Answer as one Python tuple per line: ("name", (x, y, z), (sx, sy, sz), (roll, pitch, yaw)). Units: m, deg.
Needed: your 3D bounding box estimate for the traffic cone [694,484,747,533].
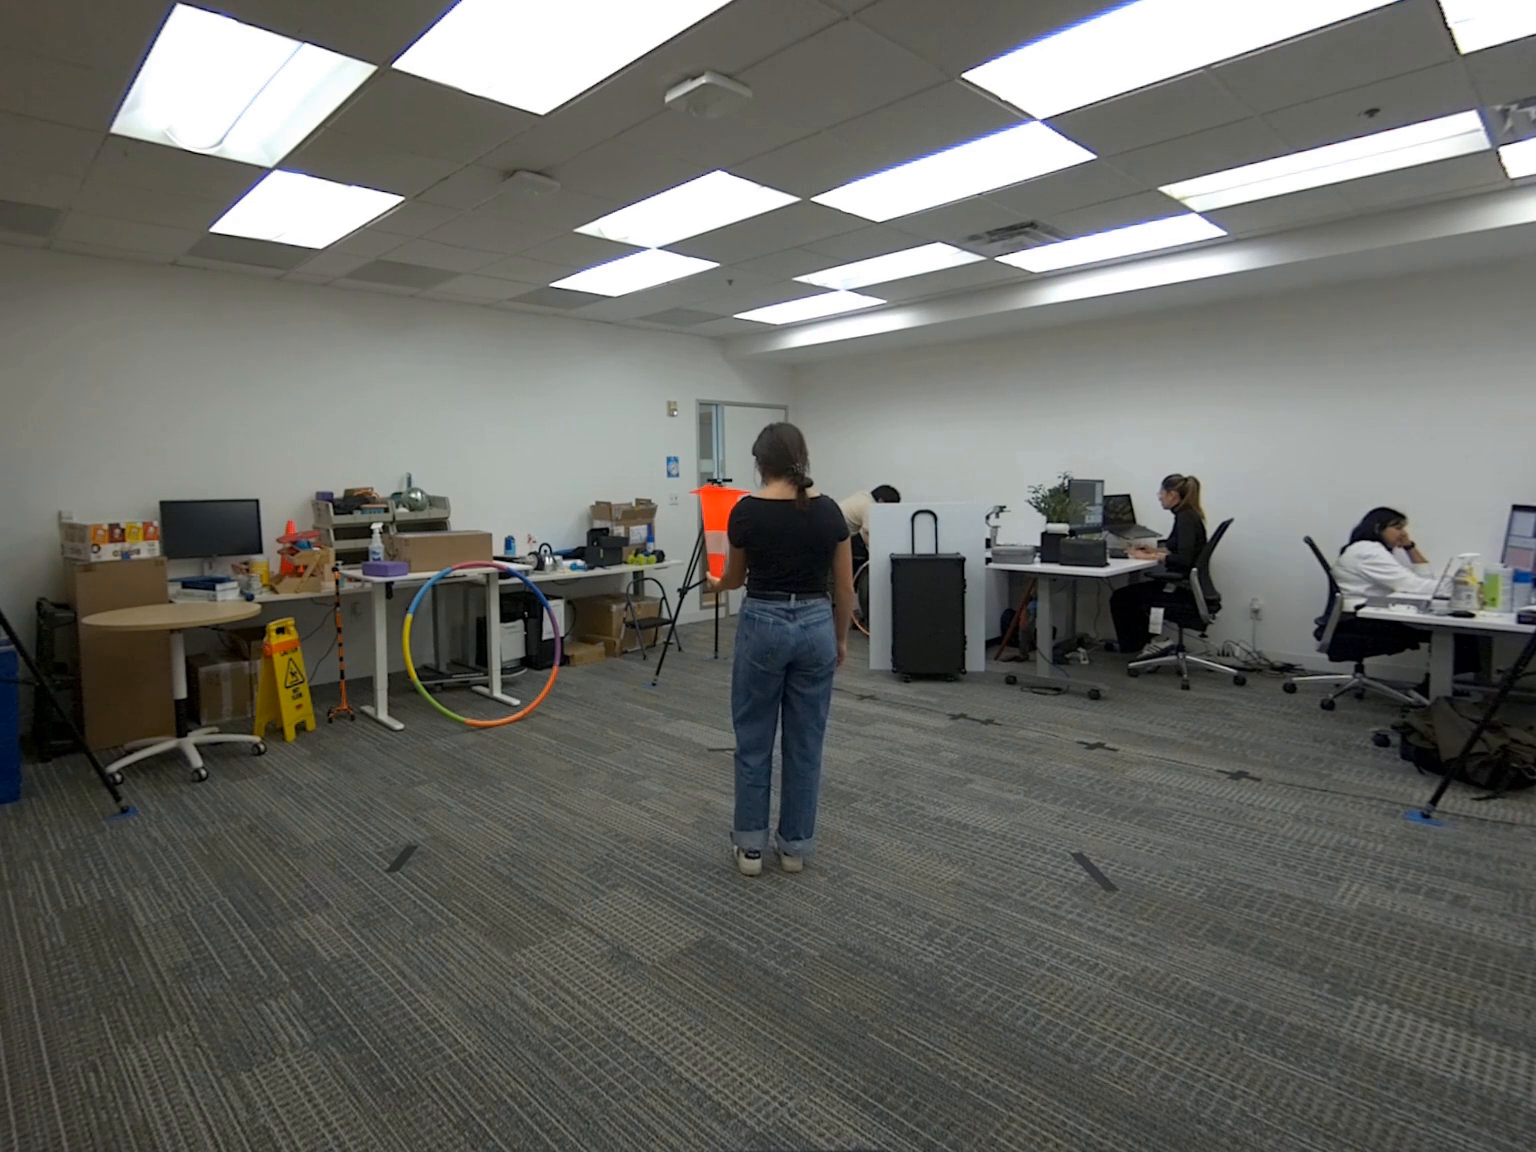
("traffic cone", (-0.198, -0.155, 3.463), (0.201, 0.386, 0.206), (4, -7, -22))
